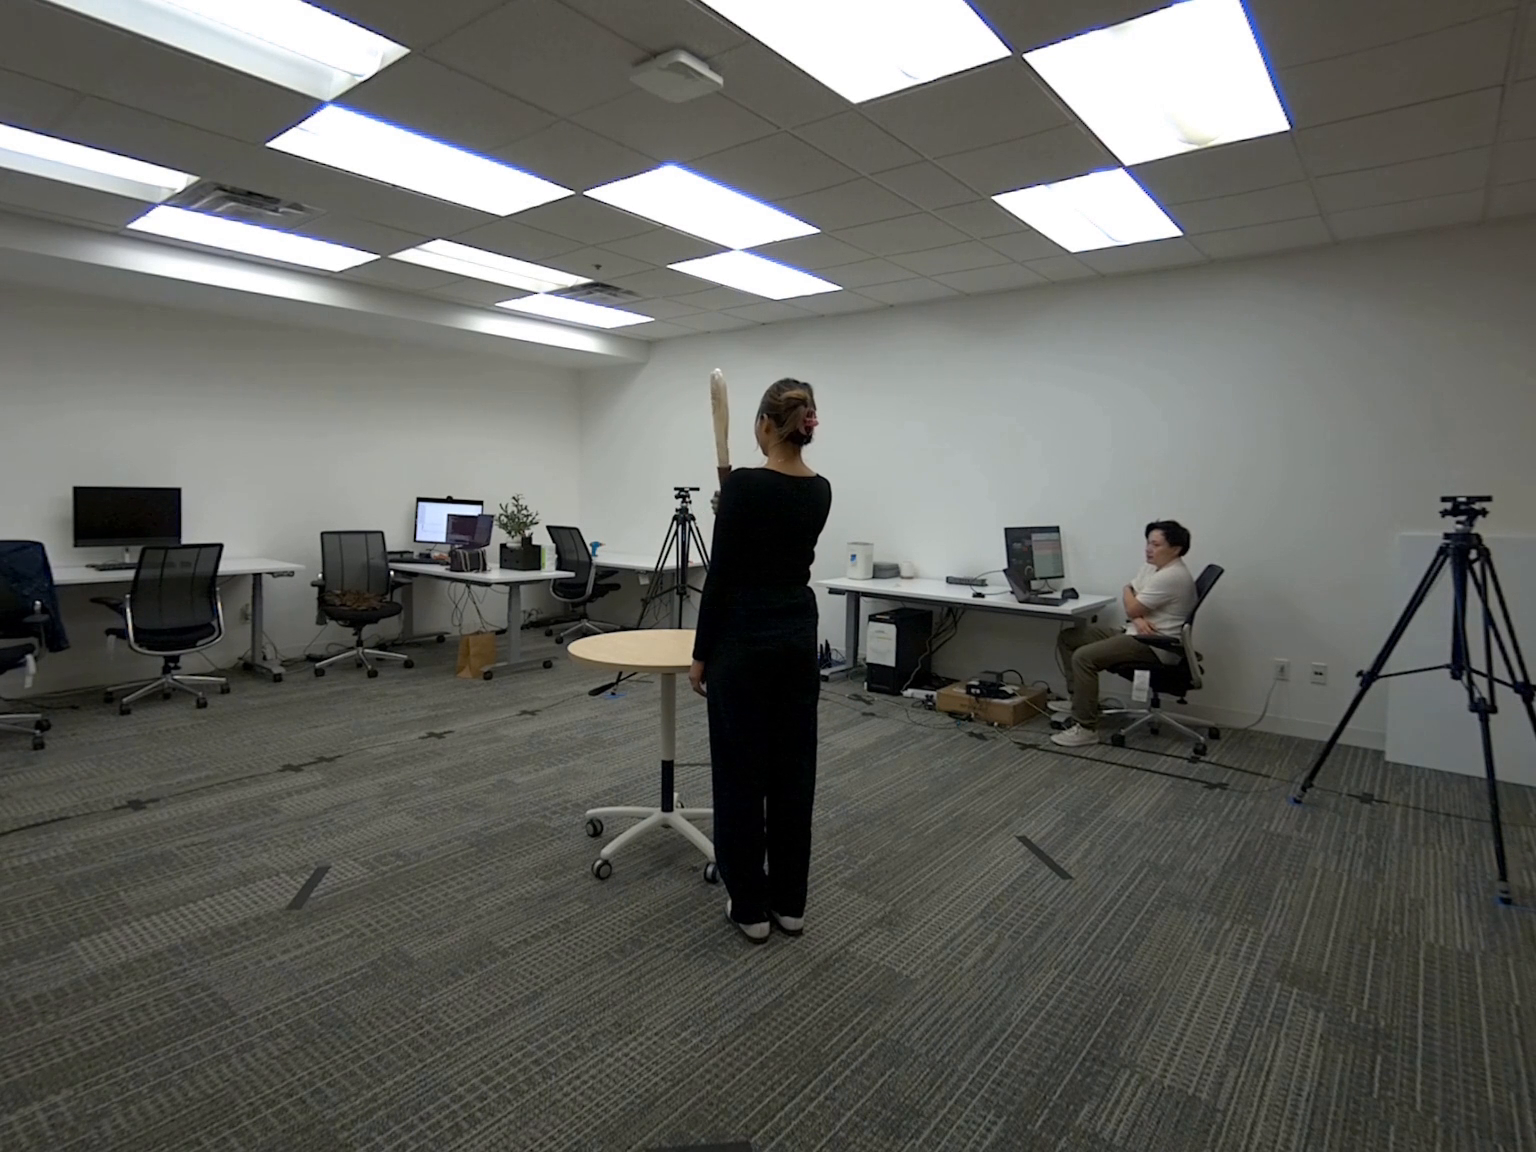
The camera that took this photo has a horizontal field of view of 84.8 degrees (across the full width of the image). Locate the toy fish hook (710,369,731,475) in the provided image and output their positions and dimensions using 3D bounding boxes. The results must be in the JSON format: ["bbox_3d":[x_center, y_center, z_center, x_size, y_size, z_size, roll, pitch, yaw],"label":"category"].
[{"bbox_3d":[-0.148,-0.379,2.623,0.048,0.496,0.230,-6,22,-6],"label":"toy fish hook"}]
